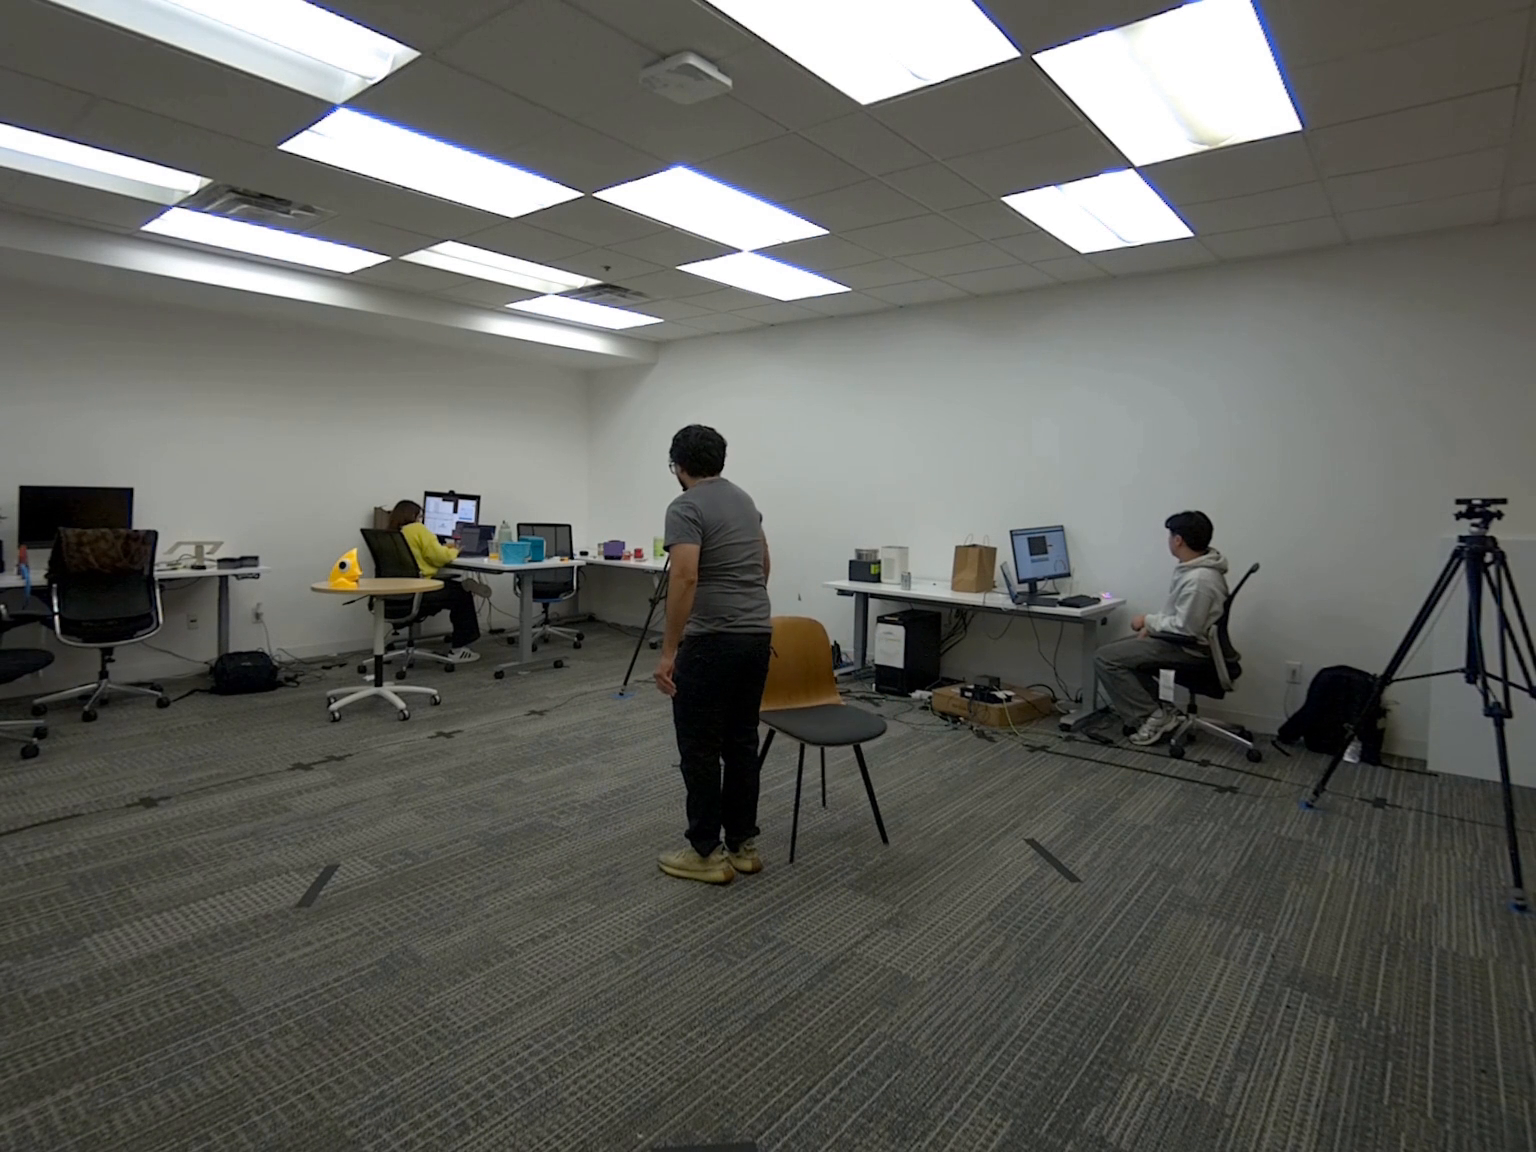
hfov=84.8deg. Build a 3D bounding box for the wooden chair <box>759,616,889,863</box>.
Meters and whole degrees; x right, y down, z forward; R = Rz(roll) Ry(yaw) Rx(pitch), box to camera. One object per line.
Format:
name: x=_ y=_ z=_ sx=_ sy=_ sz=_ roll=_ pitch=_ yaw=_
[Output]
wooden chair: x=0.171 y=0.615 z=3.437 sx=0.466 sy=0.878 sz=0.537 roll=0 pitch=0 yaw=-29
